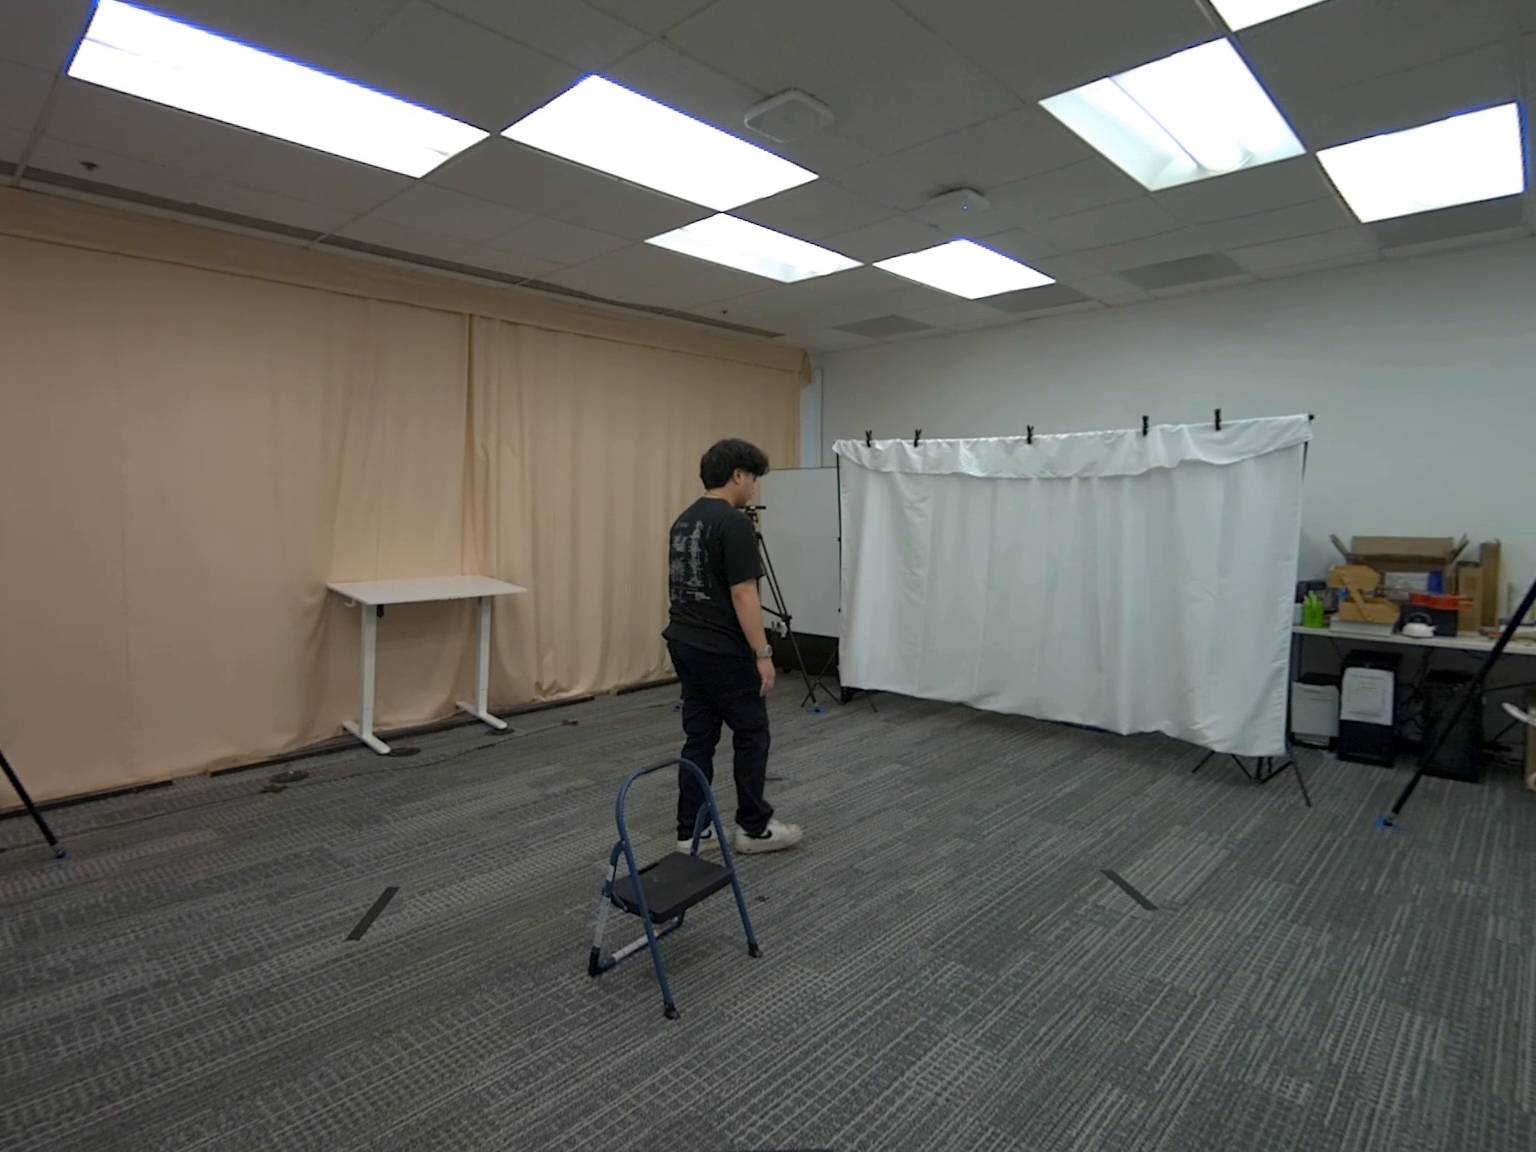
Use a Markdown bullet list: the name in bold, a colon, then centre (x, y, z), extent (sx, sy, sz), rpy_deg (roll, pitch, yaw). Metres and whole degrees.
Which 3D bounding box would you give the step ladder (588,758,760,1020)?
- **step ladder**: centre (-0.273, 0.873, 2.540), extent (0.360, 0.605, 0.418), rpy_deg (2, 4, 35)
